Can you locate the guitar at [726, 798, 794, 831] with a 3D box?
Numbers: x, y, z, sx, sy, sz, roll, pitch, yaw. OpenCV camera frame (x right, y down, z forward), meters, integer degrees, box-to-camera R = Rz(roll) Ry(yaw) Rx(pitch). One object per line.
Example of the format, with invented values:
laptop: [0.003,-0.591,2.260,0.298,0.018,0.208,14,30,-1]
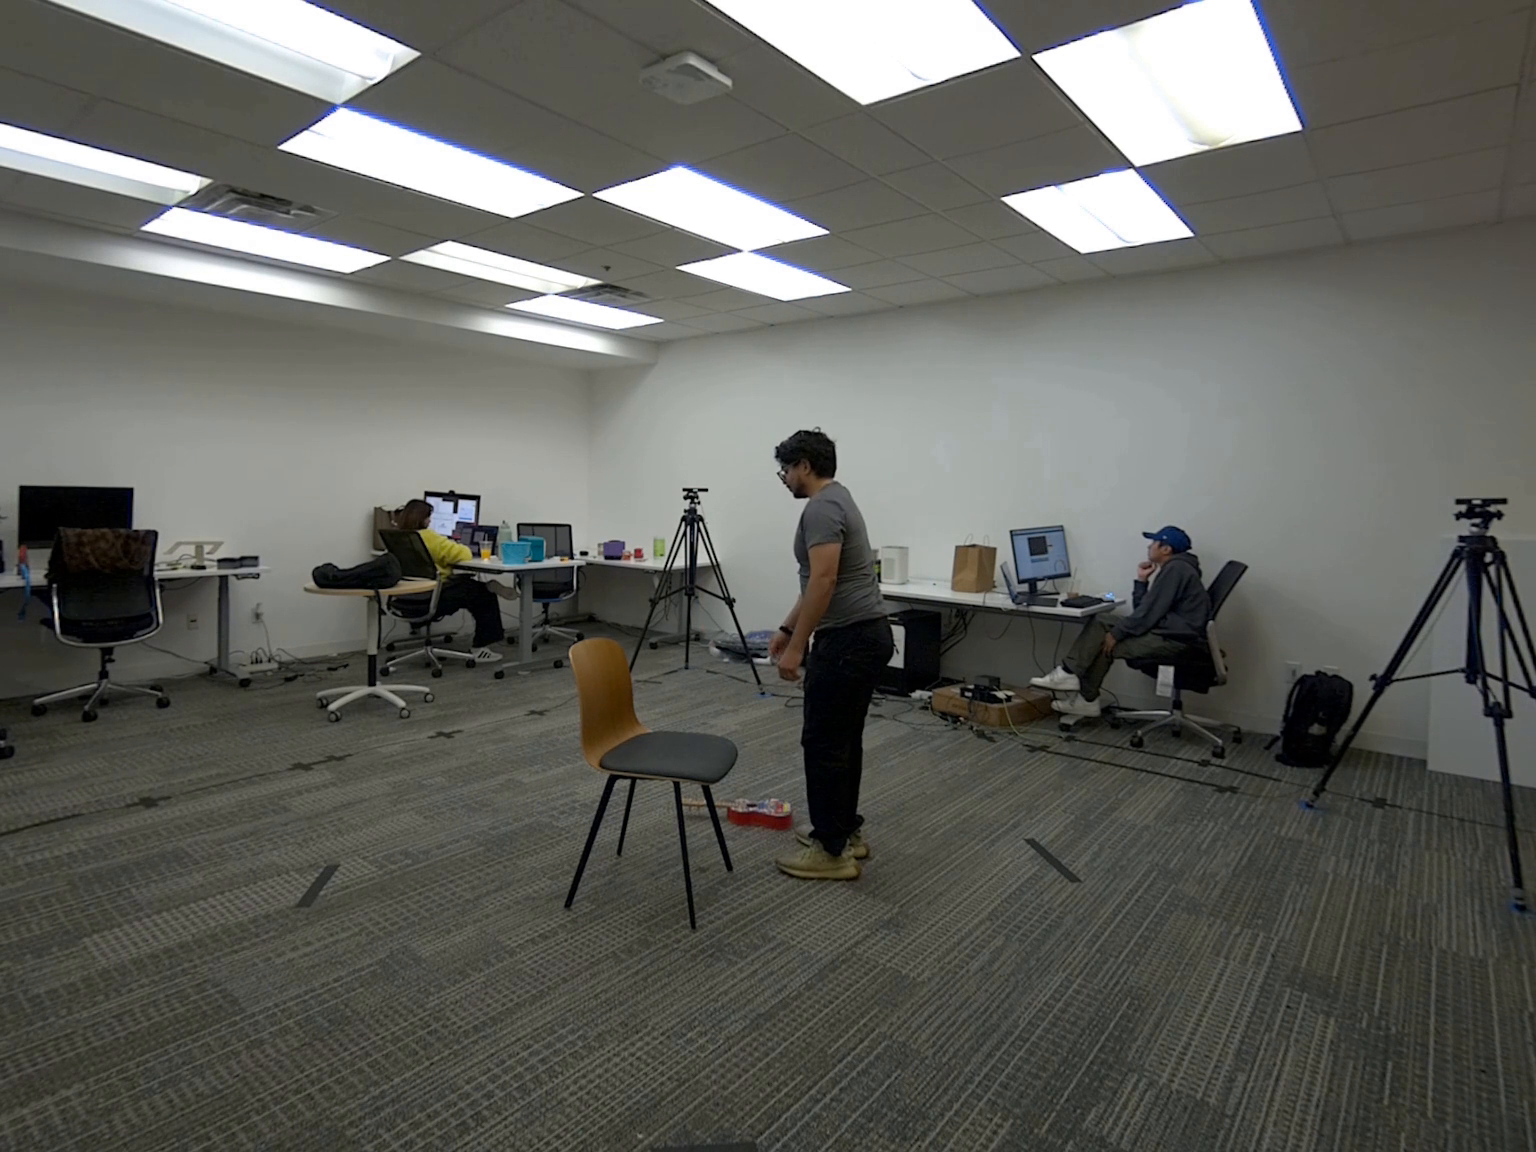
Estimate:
guitar: [-0.147,0.988,3.627,0.505,0.070,0.191,3,6,13]
